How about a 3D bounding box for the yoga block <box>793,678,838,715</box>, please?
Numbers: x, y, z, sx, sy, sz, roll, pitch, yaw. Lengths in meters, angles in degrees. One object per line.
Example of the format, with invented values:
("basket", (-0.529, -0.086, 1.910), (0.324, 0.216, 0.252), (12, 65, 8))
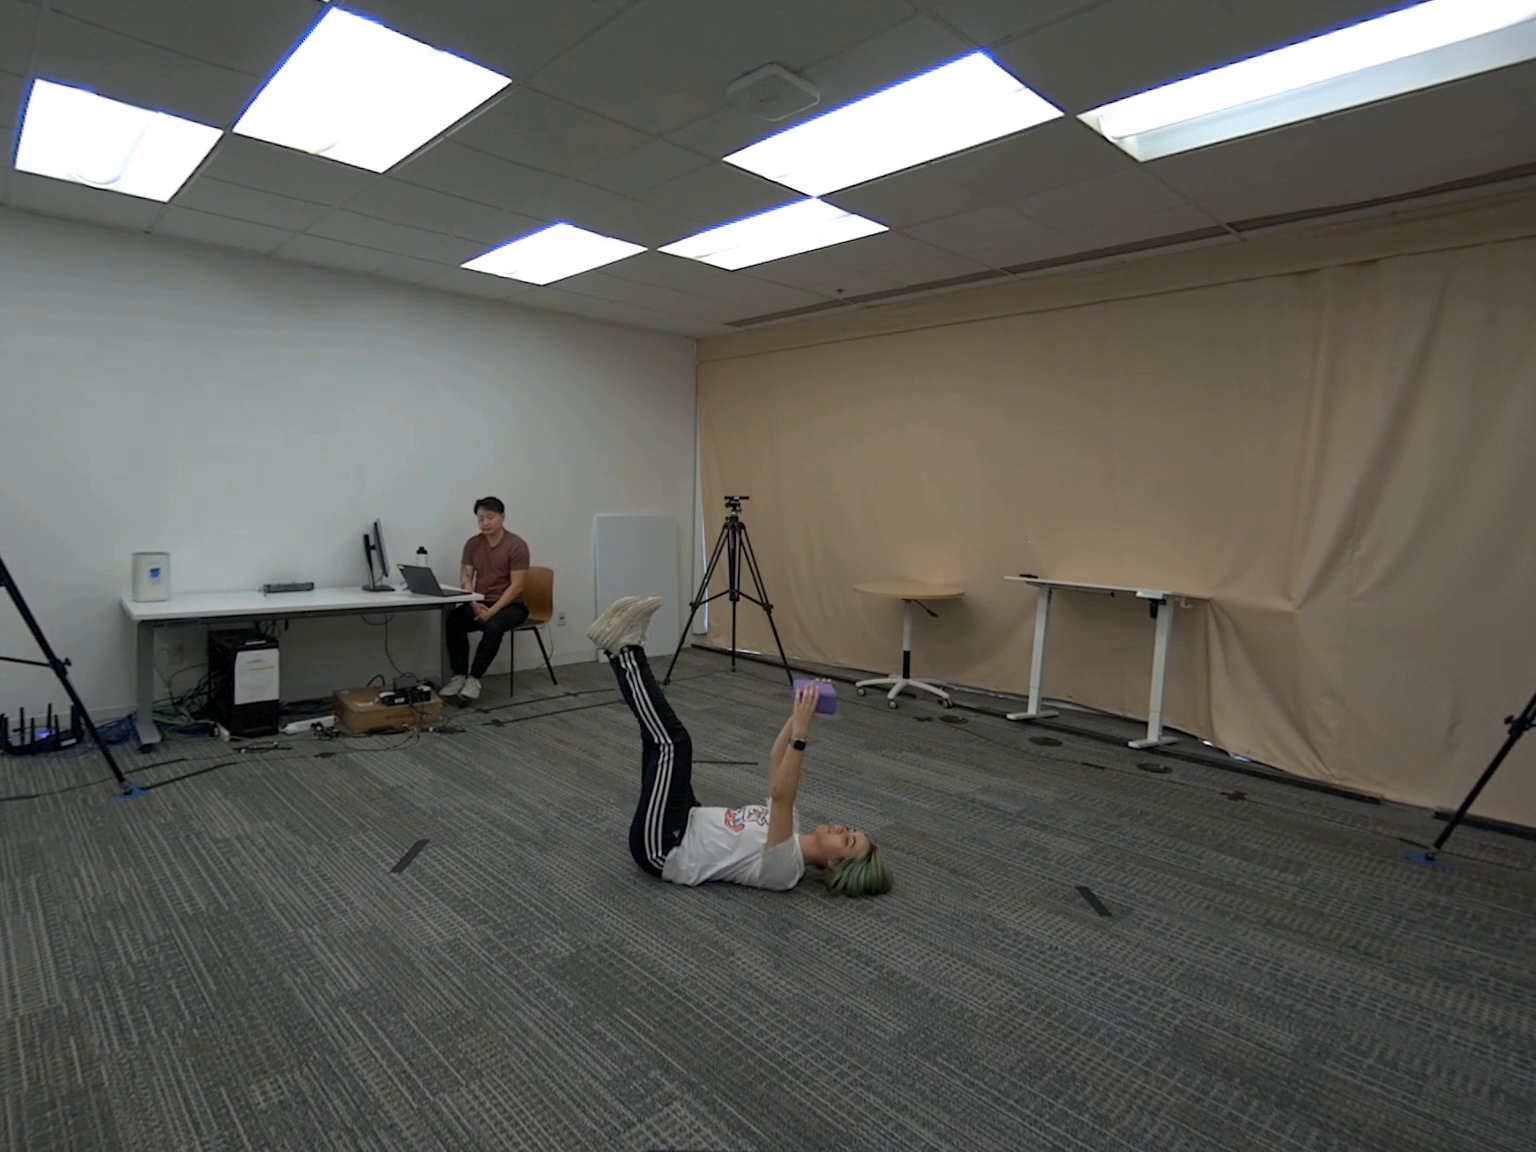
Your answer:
("yoga block", (0.166, 0.436, 3.072), (0.149, 0.076, 0.229), (7, 5, 3))
